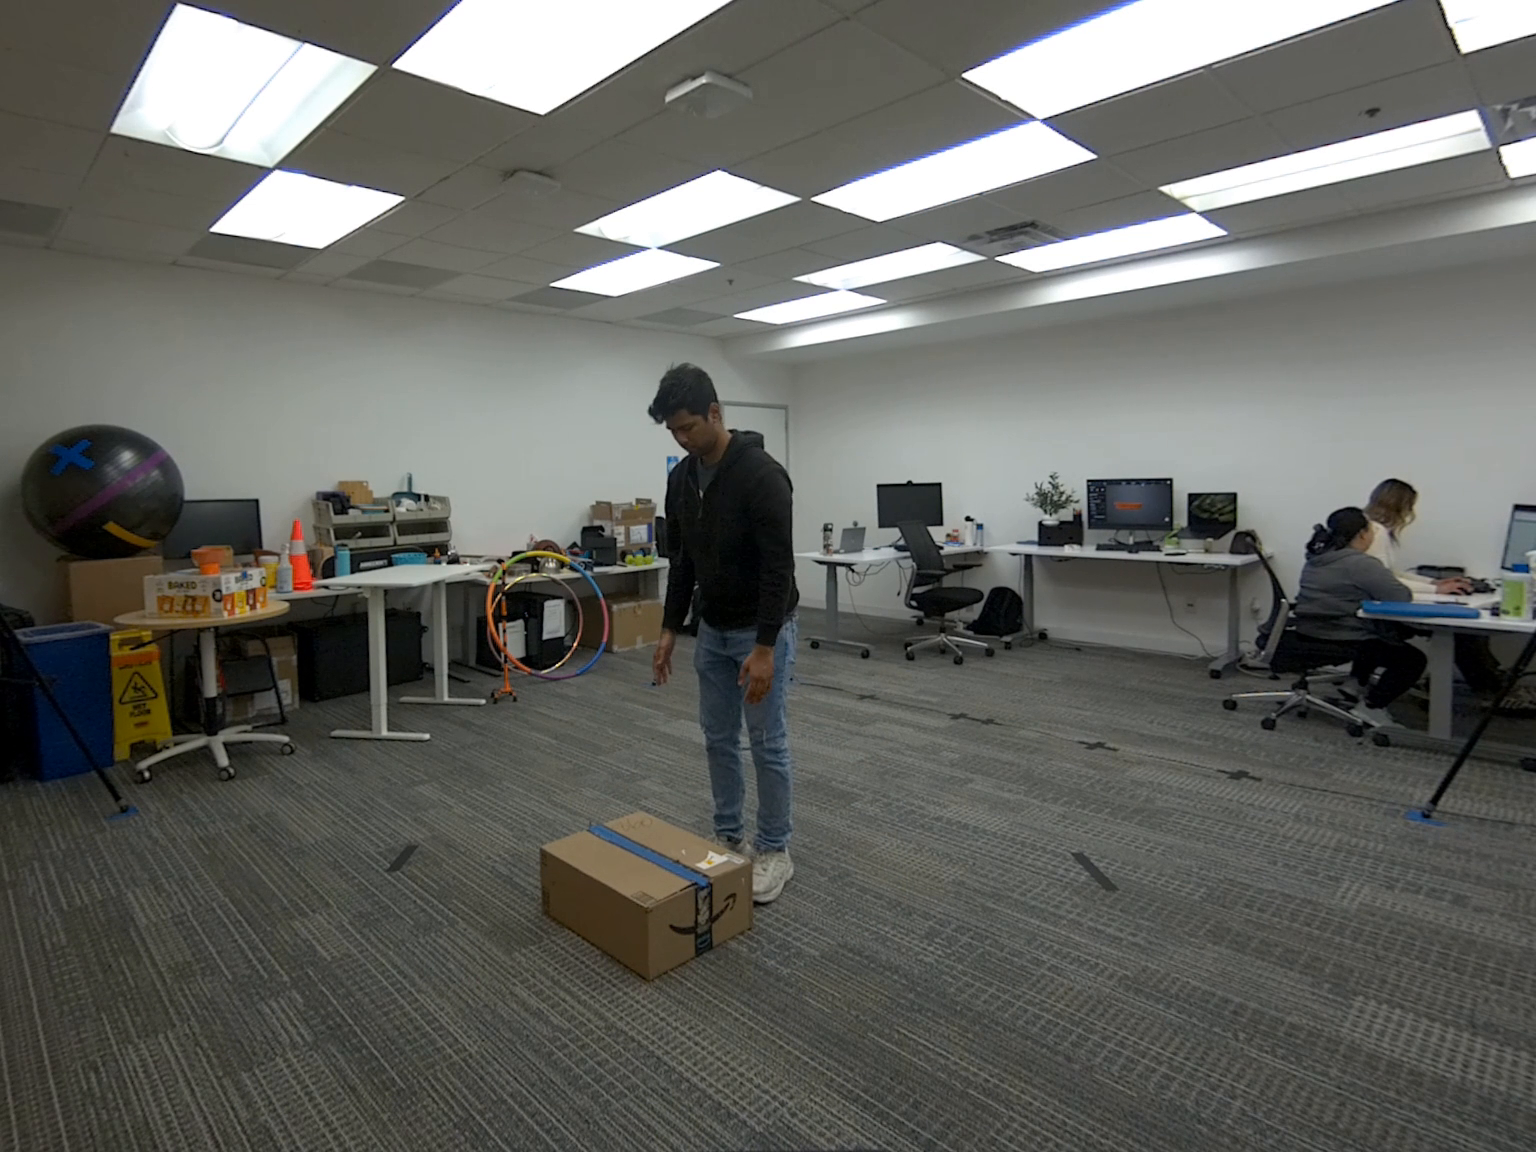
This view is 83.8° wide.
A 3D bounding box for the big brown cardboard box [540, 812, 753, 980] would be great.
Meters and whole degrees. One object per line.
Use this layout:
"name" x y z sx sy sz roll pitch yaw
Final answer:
"big brown cardboard box" -0.387 0.987 2.714 0.607 0.232 0.407 4 8 45
